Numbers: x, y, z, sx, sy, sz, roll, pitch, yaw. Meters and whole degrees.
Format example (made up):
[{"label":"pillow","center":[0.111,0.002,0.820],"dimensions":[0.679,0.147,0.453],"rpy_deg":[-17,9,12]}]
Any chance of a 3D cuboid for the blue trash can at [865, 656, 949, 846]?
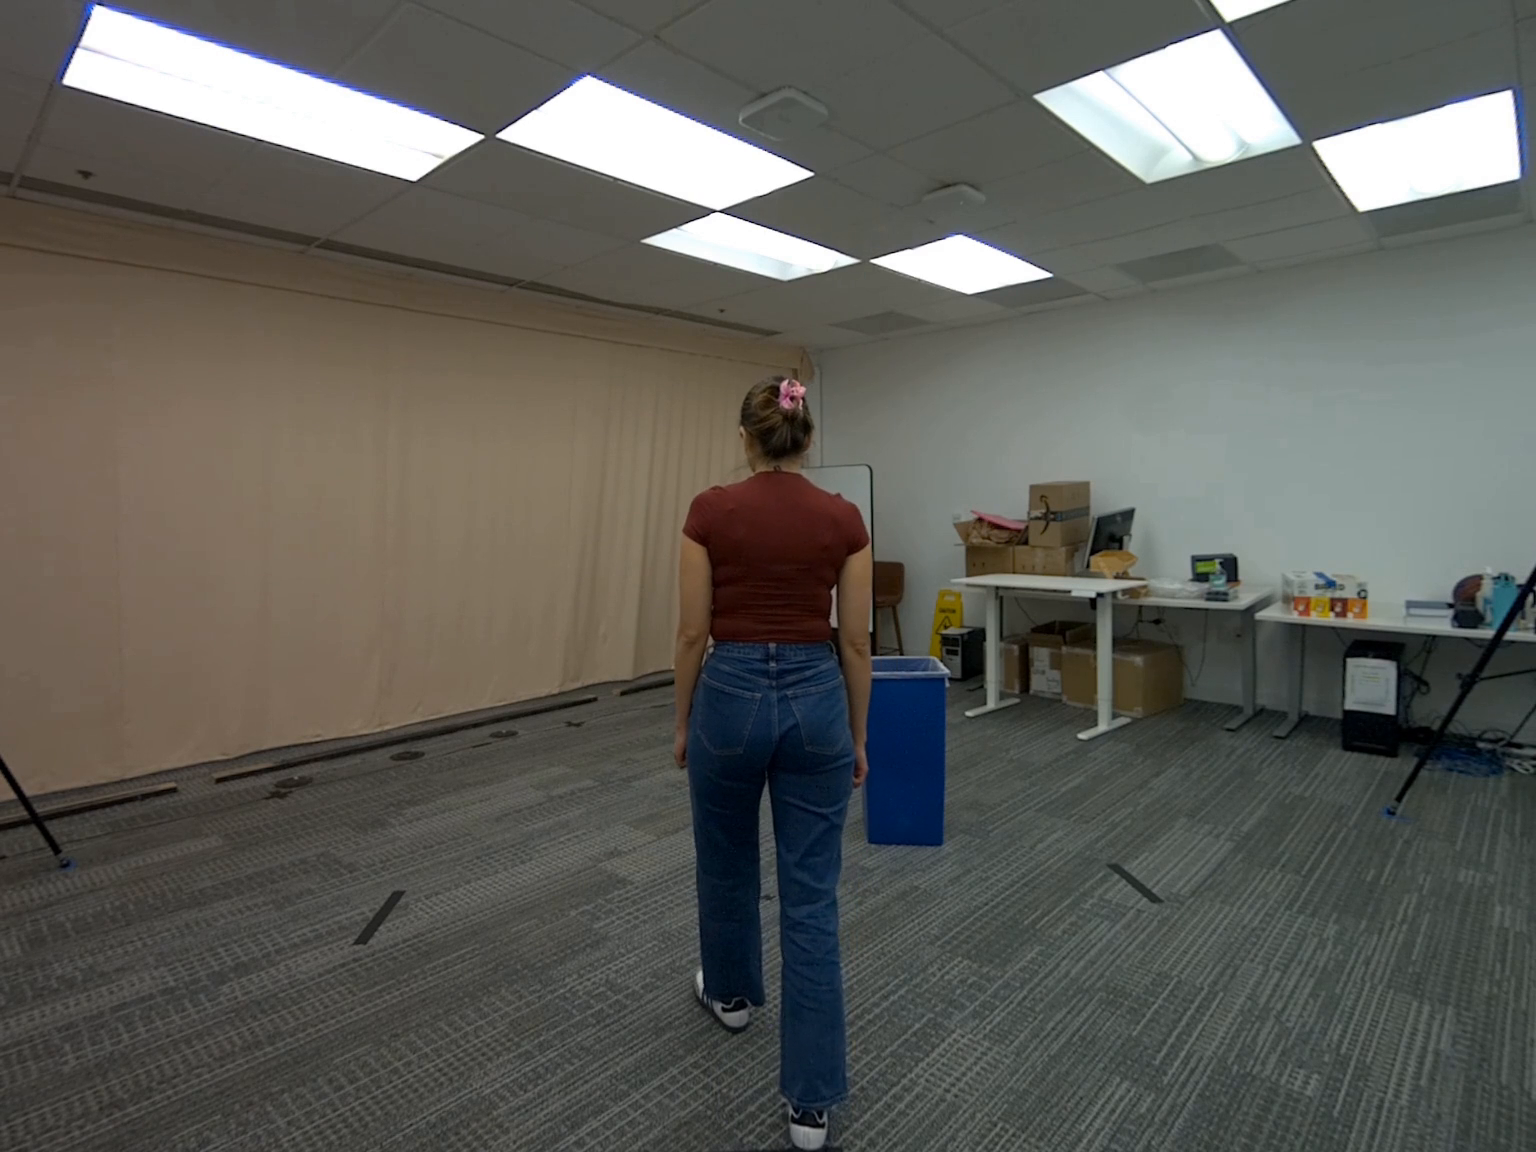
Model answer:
[{"label":"blue trash can","center":[0.560,0.726,3.547],"dimensions":[0.376,0.712,0.377],"rpy_deg":[-1,3,4]}]
